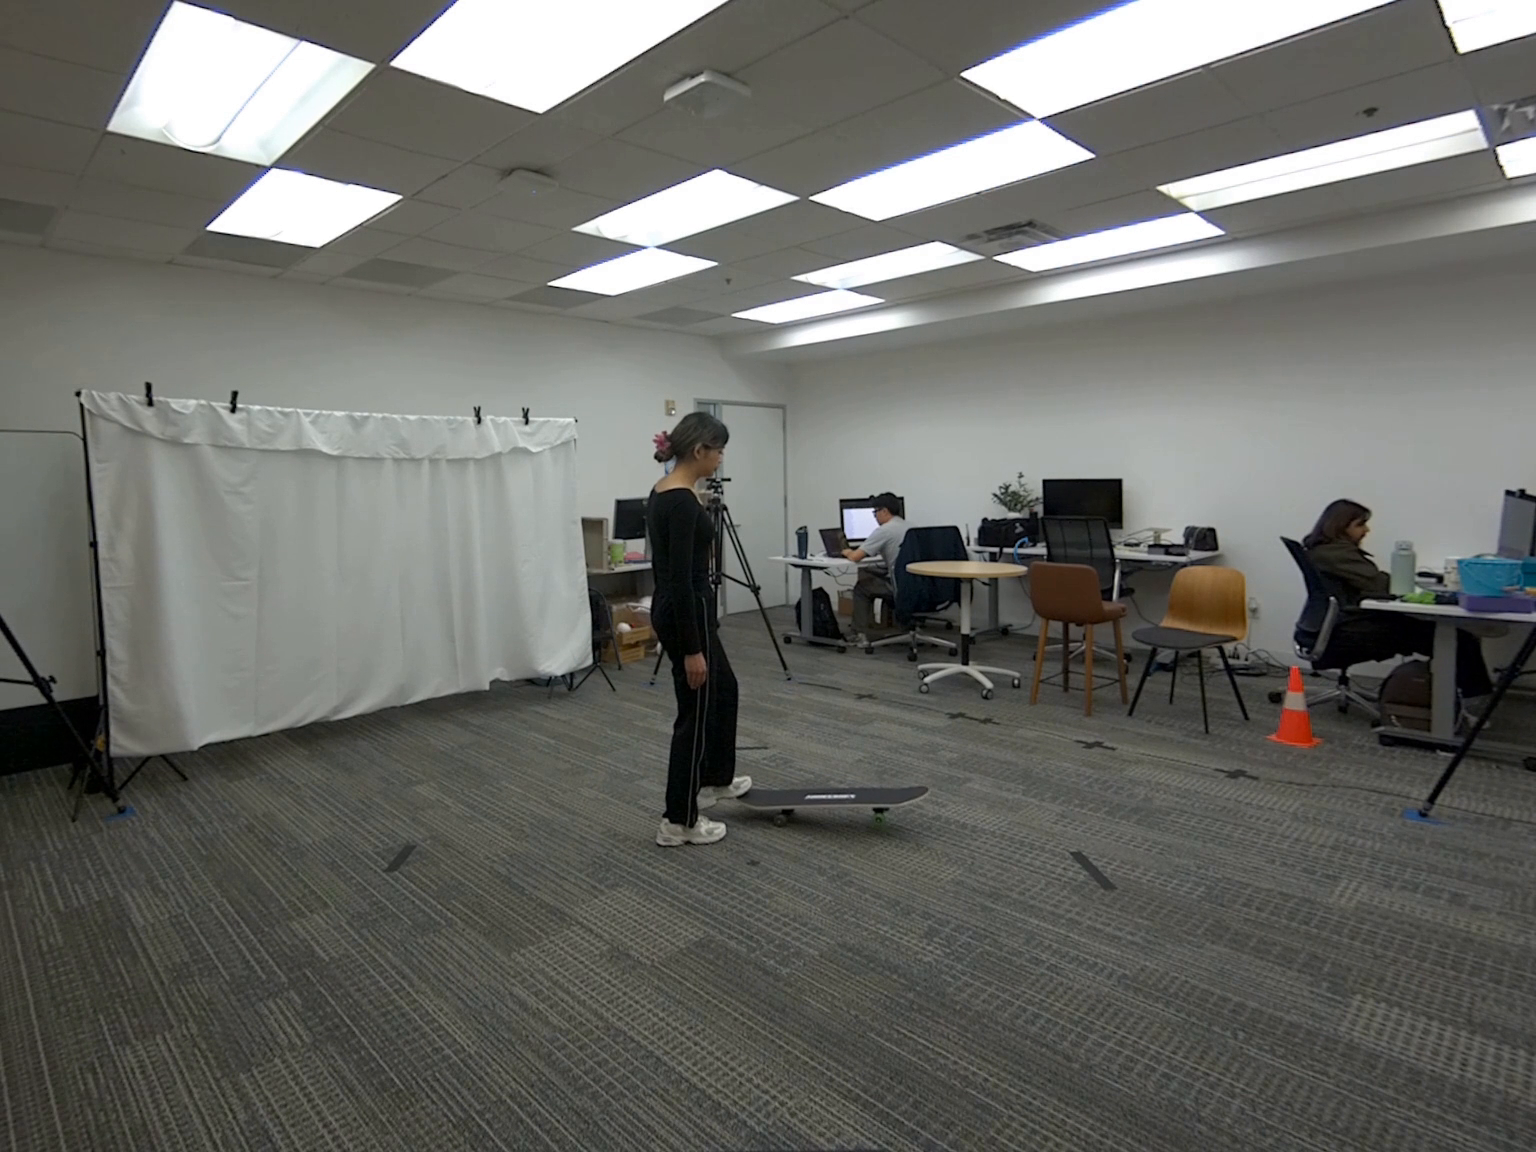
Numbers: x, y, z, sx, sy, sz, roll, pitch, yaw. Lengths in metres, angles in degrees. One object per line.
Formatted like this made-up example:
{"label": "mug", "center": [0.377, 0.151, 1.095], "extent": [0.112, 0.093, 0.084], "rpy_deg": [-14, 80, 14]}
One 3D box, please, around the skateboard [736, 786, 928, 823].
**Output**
{"label": "skateboard", "center": [0.263, 0.926, 3.441], "extent": [0.798, 0.110, 0.191], "rpy_deg": [-6, 5, 19]}
